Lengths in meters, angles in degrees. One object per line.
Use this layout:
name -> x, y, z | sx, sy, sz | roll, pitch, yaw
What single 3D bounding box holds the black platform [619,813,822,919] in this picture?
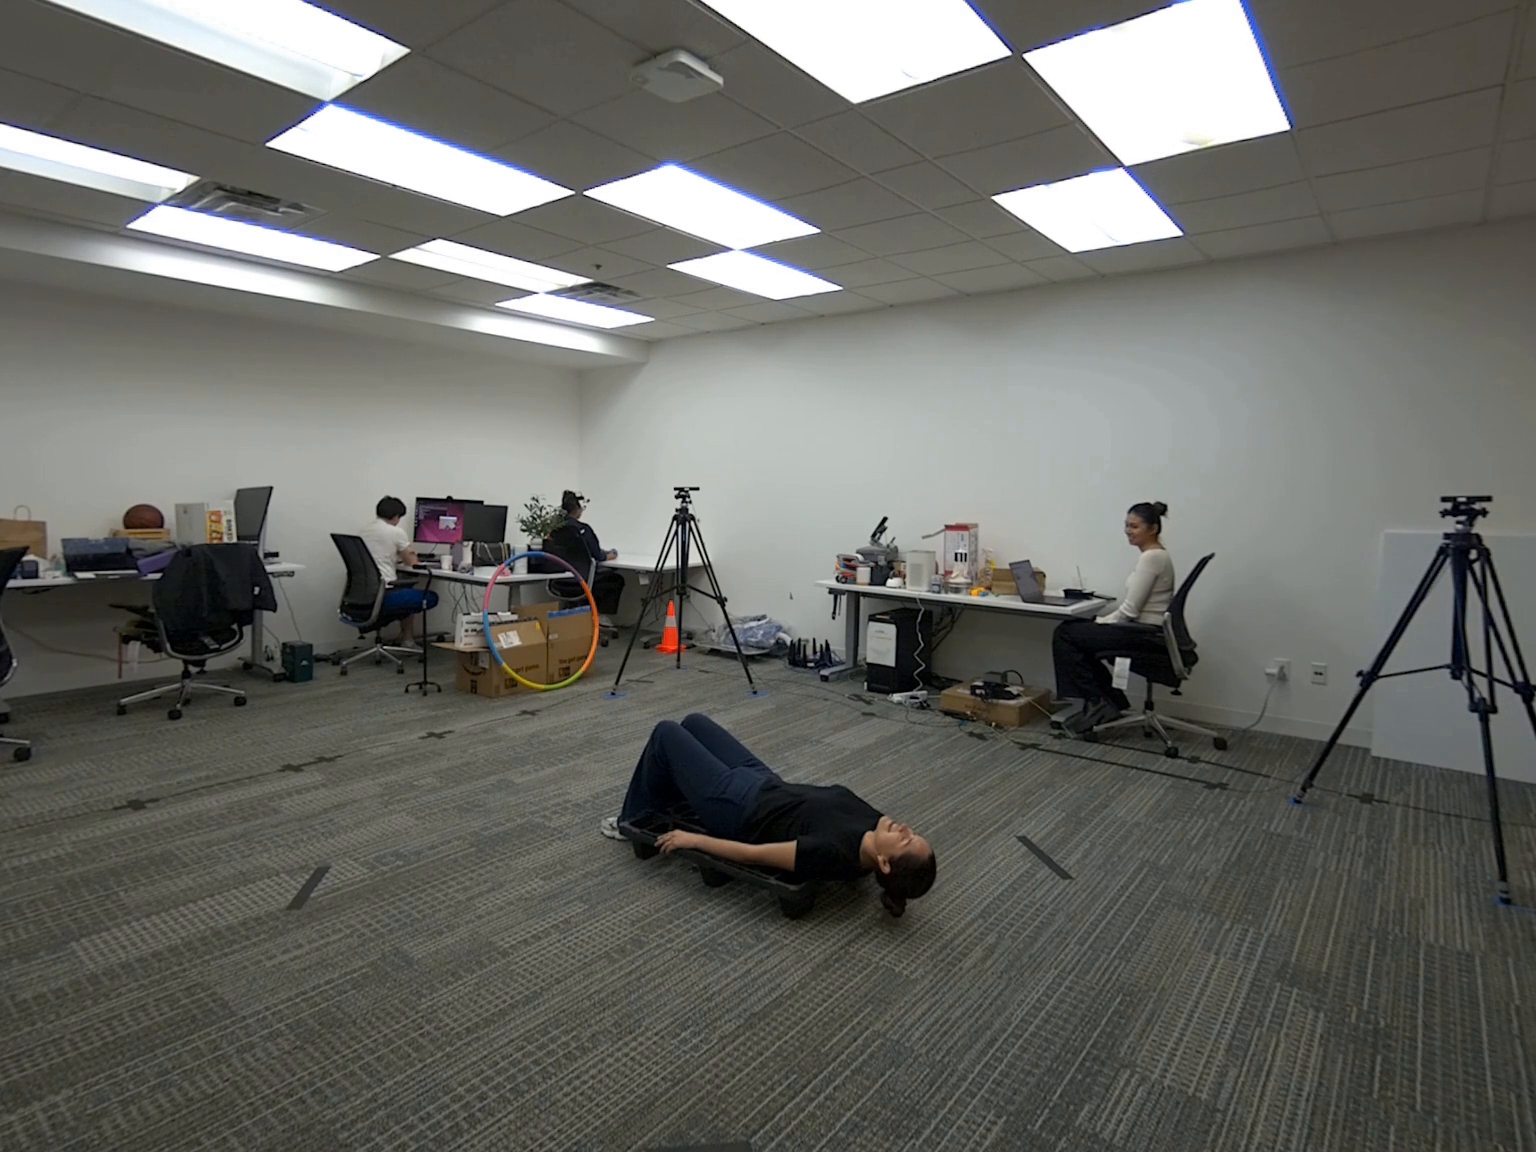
black platform -> -0.041, 1.000, 3.159 | 0.832, 0.143, 0.588 | 5, 7, 38
